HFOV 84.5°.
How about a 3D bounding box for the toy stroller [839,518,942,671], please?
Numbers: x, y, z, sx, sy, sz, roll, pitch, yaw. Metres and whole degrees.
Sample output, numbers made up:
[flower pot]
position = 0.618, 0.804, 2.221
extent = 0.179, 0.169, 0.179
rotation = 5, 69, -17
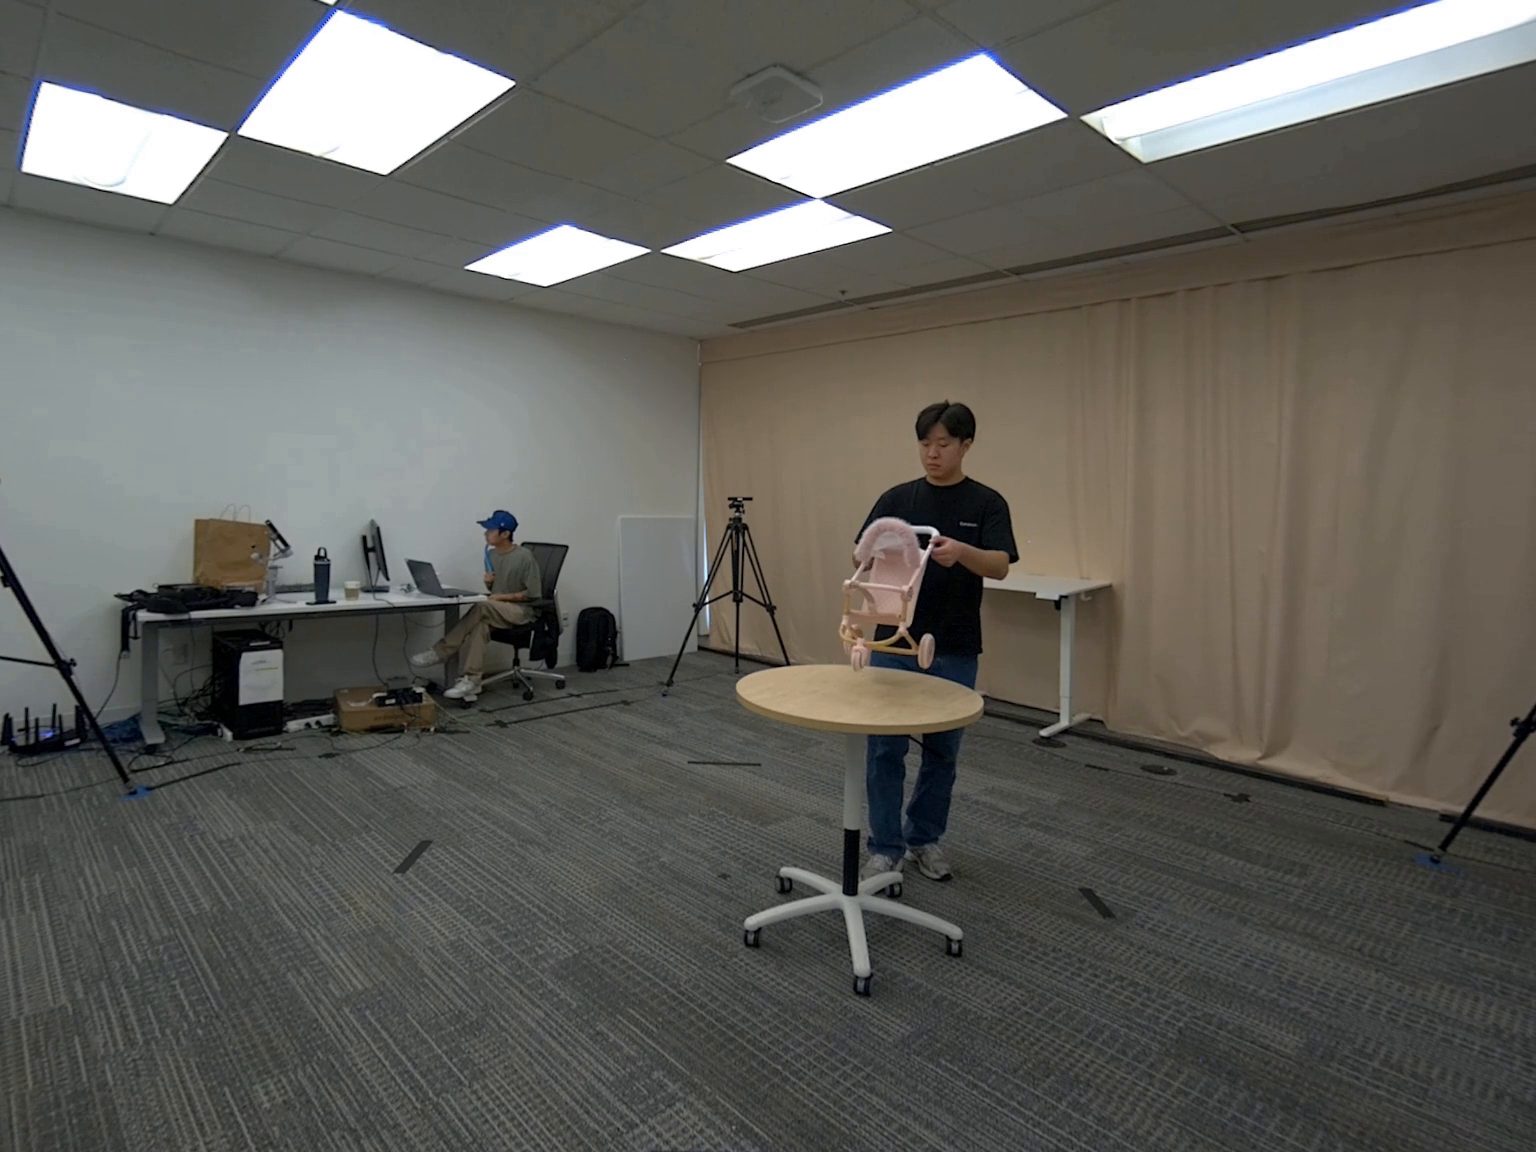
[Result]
[toy stroller]
position = 0.366, 0.057, 2.685
extent = 0.288, 0.538, 0.331
rotation = 4, -12, 34
